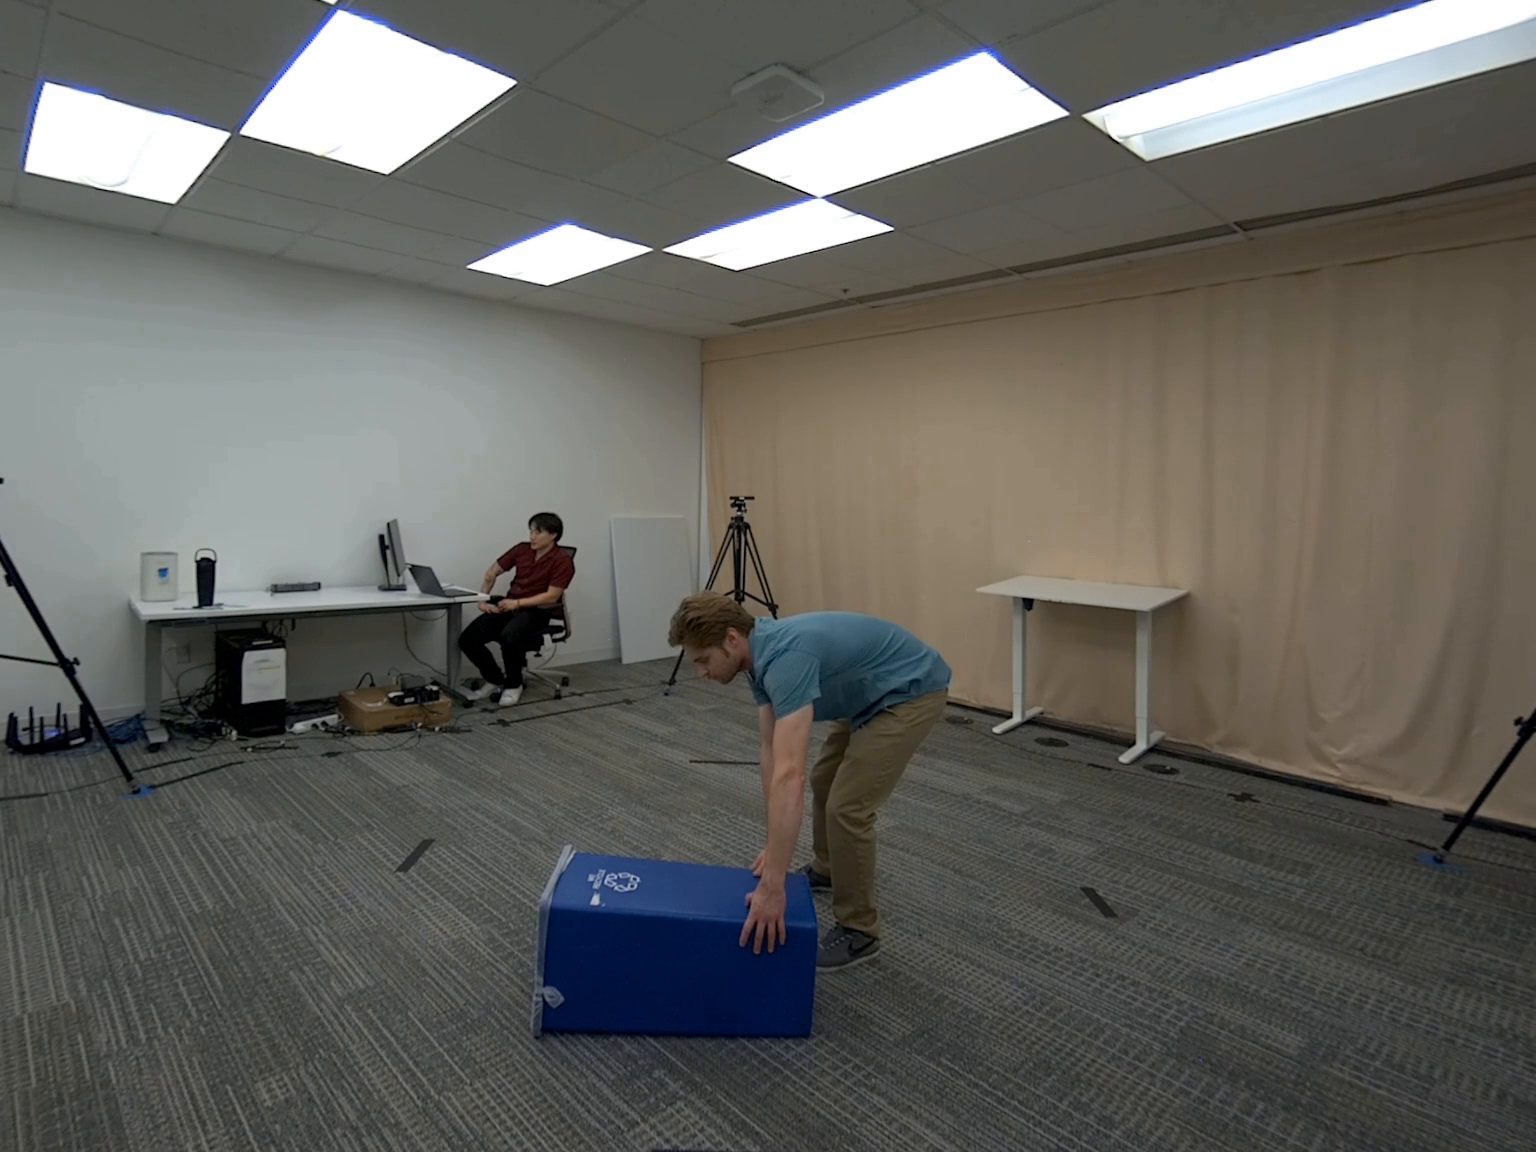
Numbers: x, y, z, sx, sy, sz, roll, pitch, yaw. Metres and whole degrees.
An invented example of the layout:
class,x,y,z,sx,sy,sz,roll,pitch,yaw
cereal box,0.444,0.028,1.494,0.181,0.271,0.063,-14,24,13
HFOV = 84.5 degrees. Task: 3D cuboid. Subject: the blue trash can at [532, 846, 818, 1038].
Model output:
class,x,y,z,sx,sy,sz,roll,pitch,yaw
blue trash can,-0.252,1.012,2.304,0.713,0.377,0.375,4,4,-2
